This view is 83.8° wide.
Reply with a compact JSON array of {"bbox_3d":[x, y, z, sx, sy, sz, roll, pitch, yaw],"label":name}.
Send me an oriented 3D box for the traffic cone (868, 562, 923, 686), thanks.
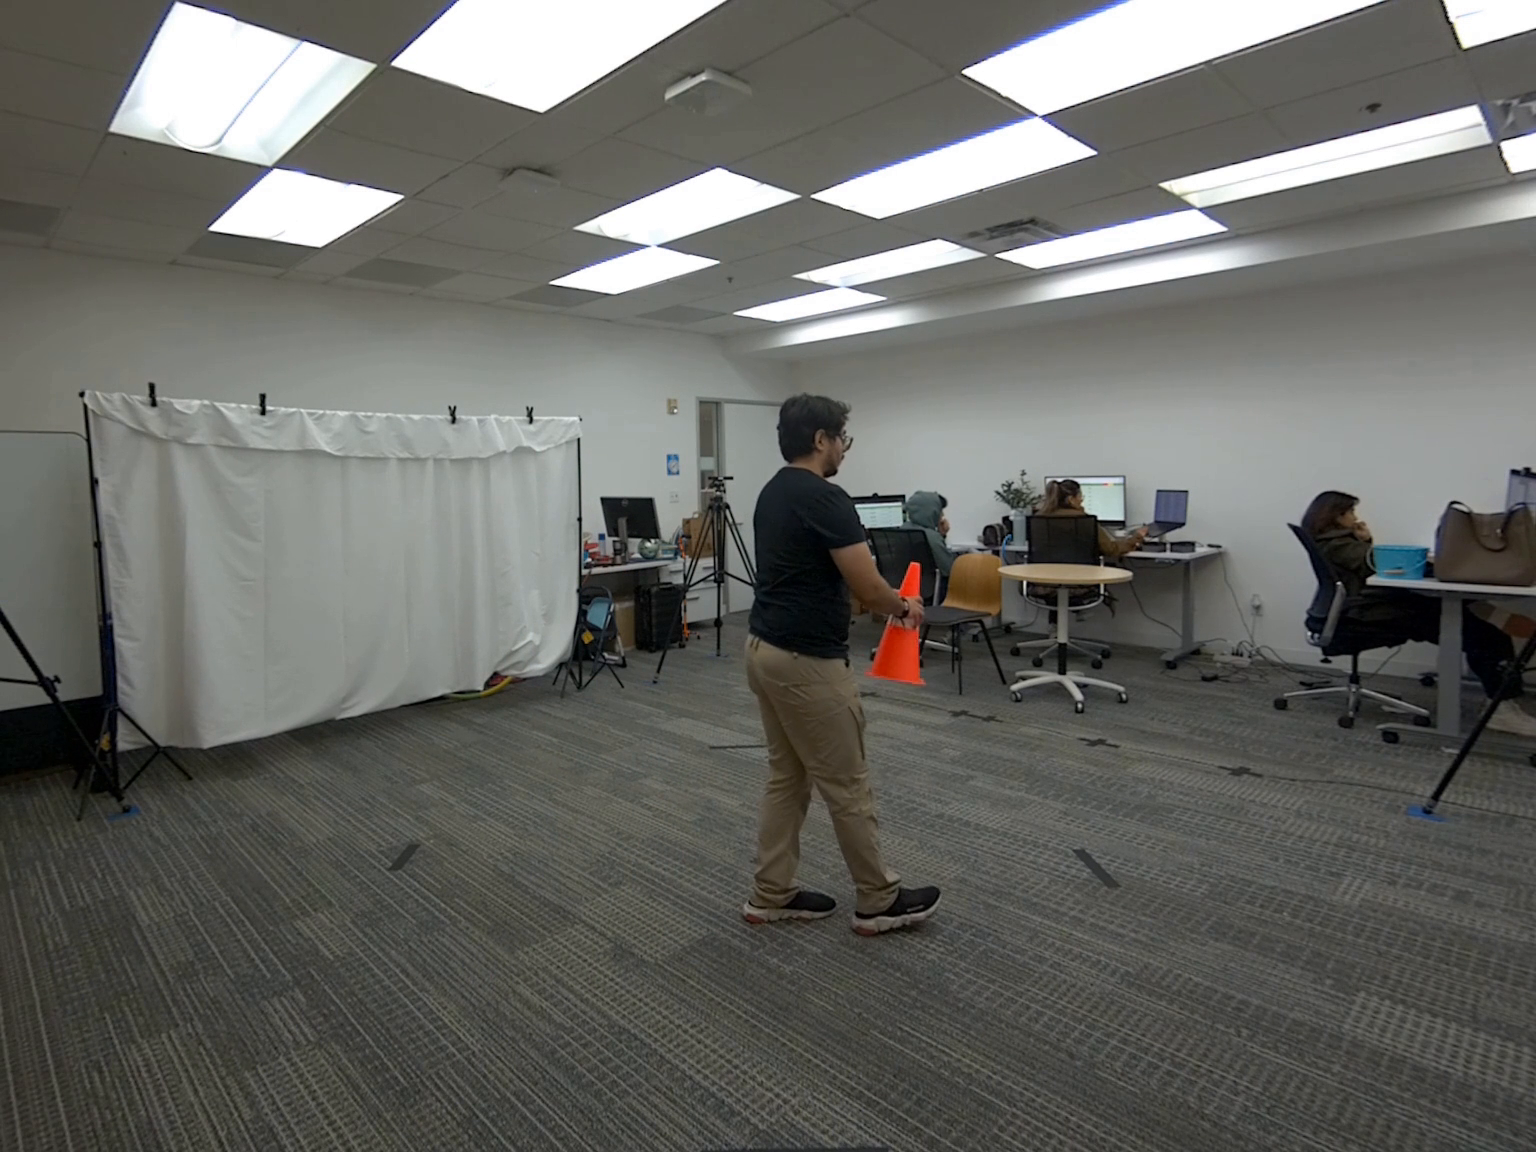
[{"bbox_3d":[0.452,0.146,2.791,0.207,0.384,0.202,9,0,6],"label":"traffic cone"}]
